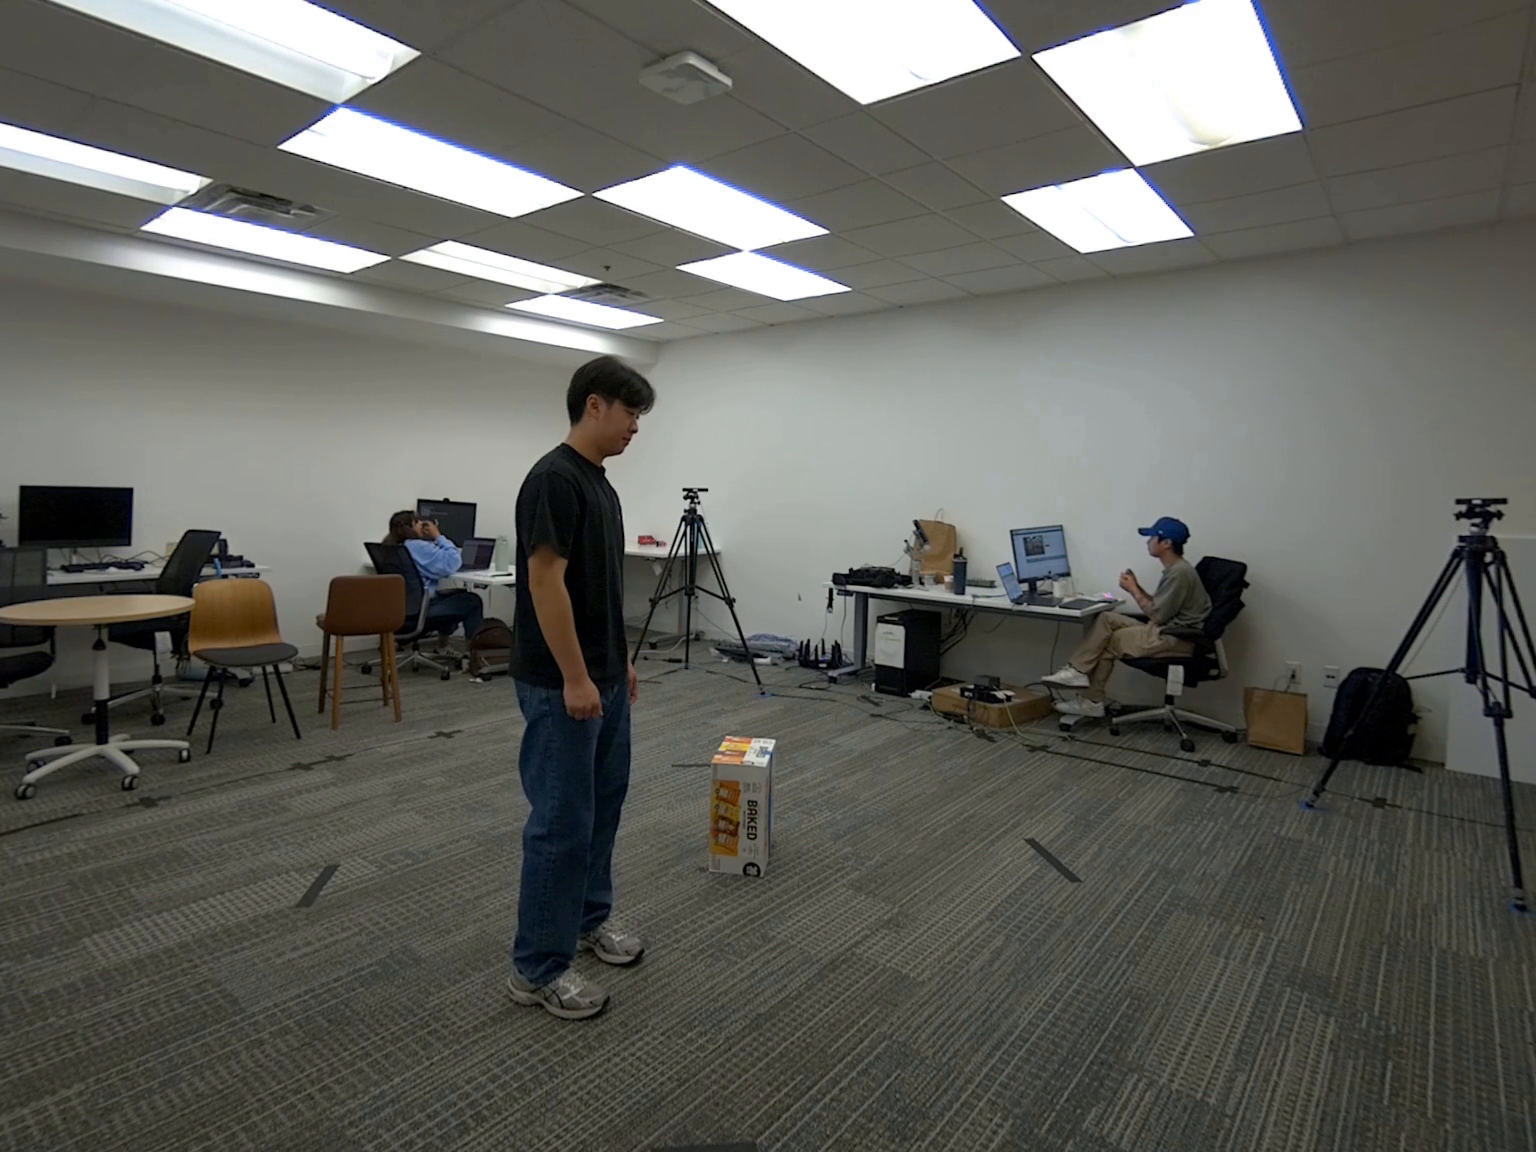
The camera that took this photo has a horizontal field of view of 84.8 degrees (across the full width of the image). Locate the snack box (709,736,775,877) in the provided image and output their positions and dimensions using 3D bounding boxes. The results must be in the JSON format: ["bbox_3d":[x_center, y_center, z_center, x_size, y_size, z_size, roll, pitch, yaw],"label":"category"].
[{"bbox_3d":[-0.104,0.855,3.226,0.208,0.404,0.338,2,4,8],"label":"snack box"}]
